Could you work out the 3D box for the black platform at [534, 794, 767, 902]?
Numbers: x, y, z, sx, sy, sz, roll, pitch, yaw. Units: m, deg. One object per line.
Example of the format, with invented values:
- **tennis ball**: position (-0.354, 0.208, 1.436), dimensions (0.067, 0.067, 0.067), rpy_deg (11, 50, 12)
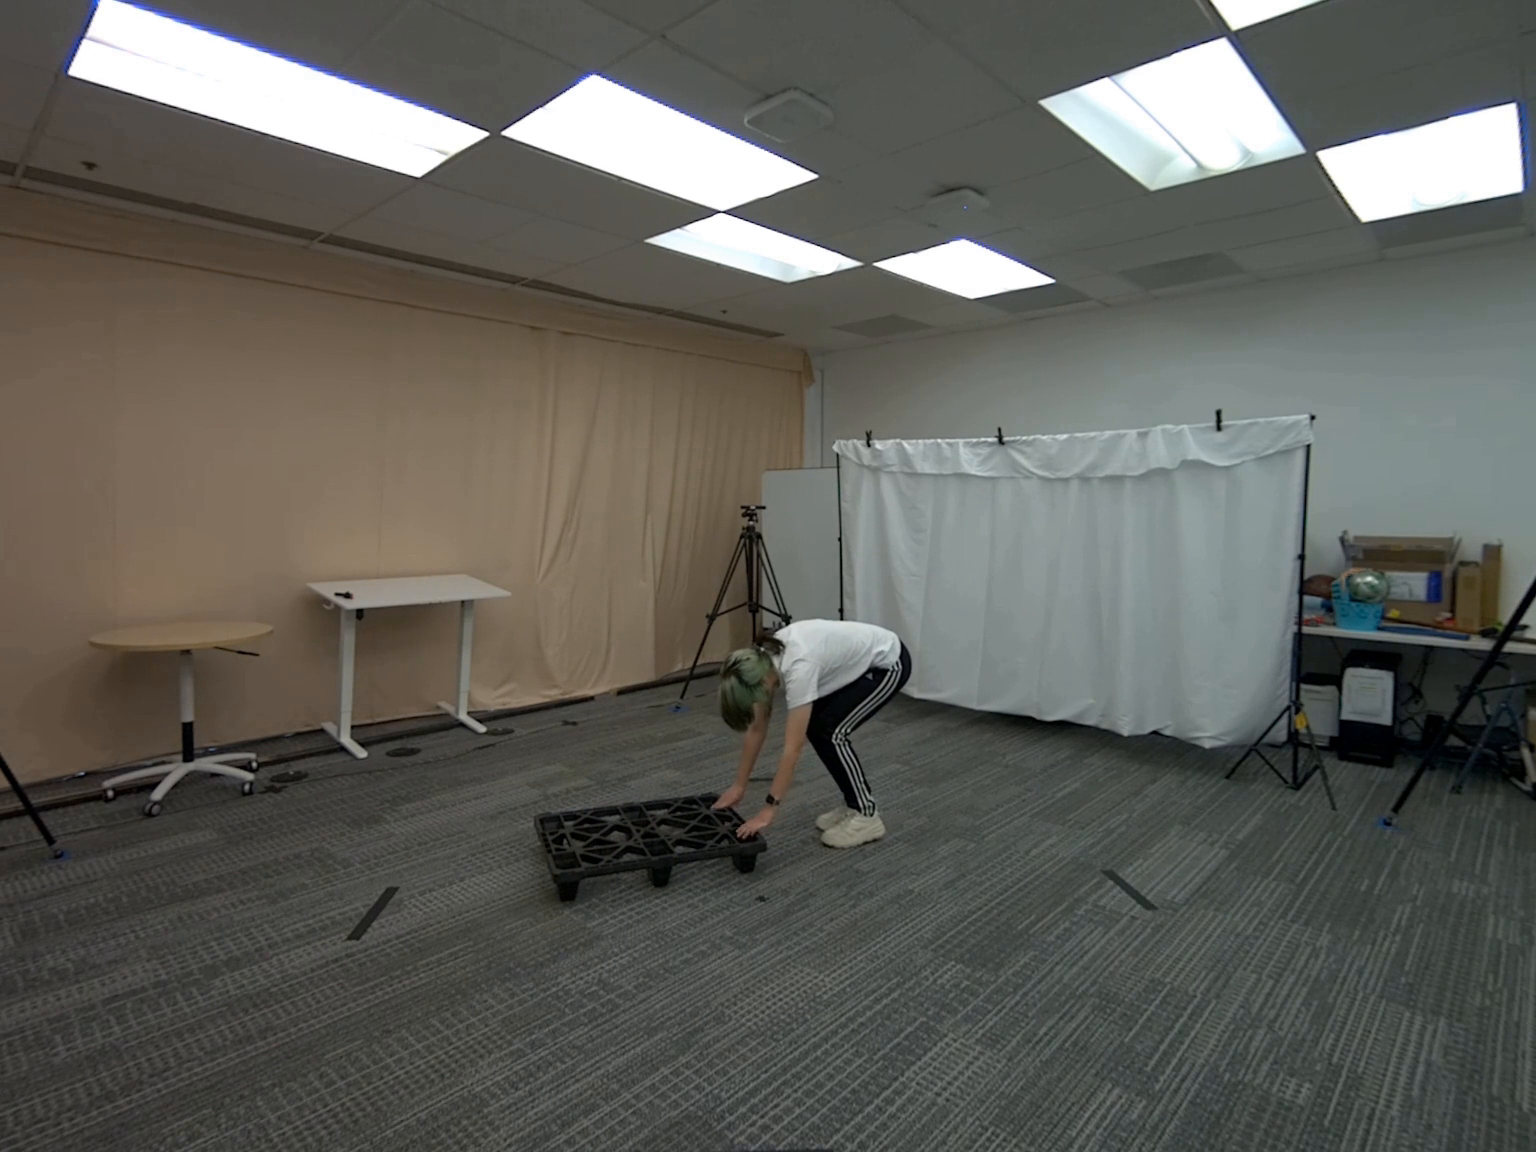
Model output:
- **black platform**: position (-0.482, 1.054, 3.302), dimensions (0.790, 0.143, 0.618), rpy_deg (-2, 4, -20)
